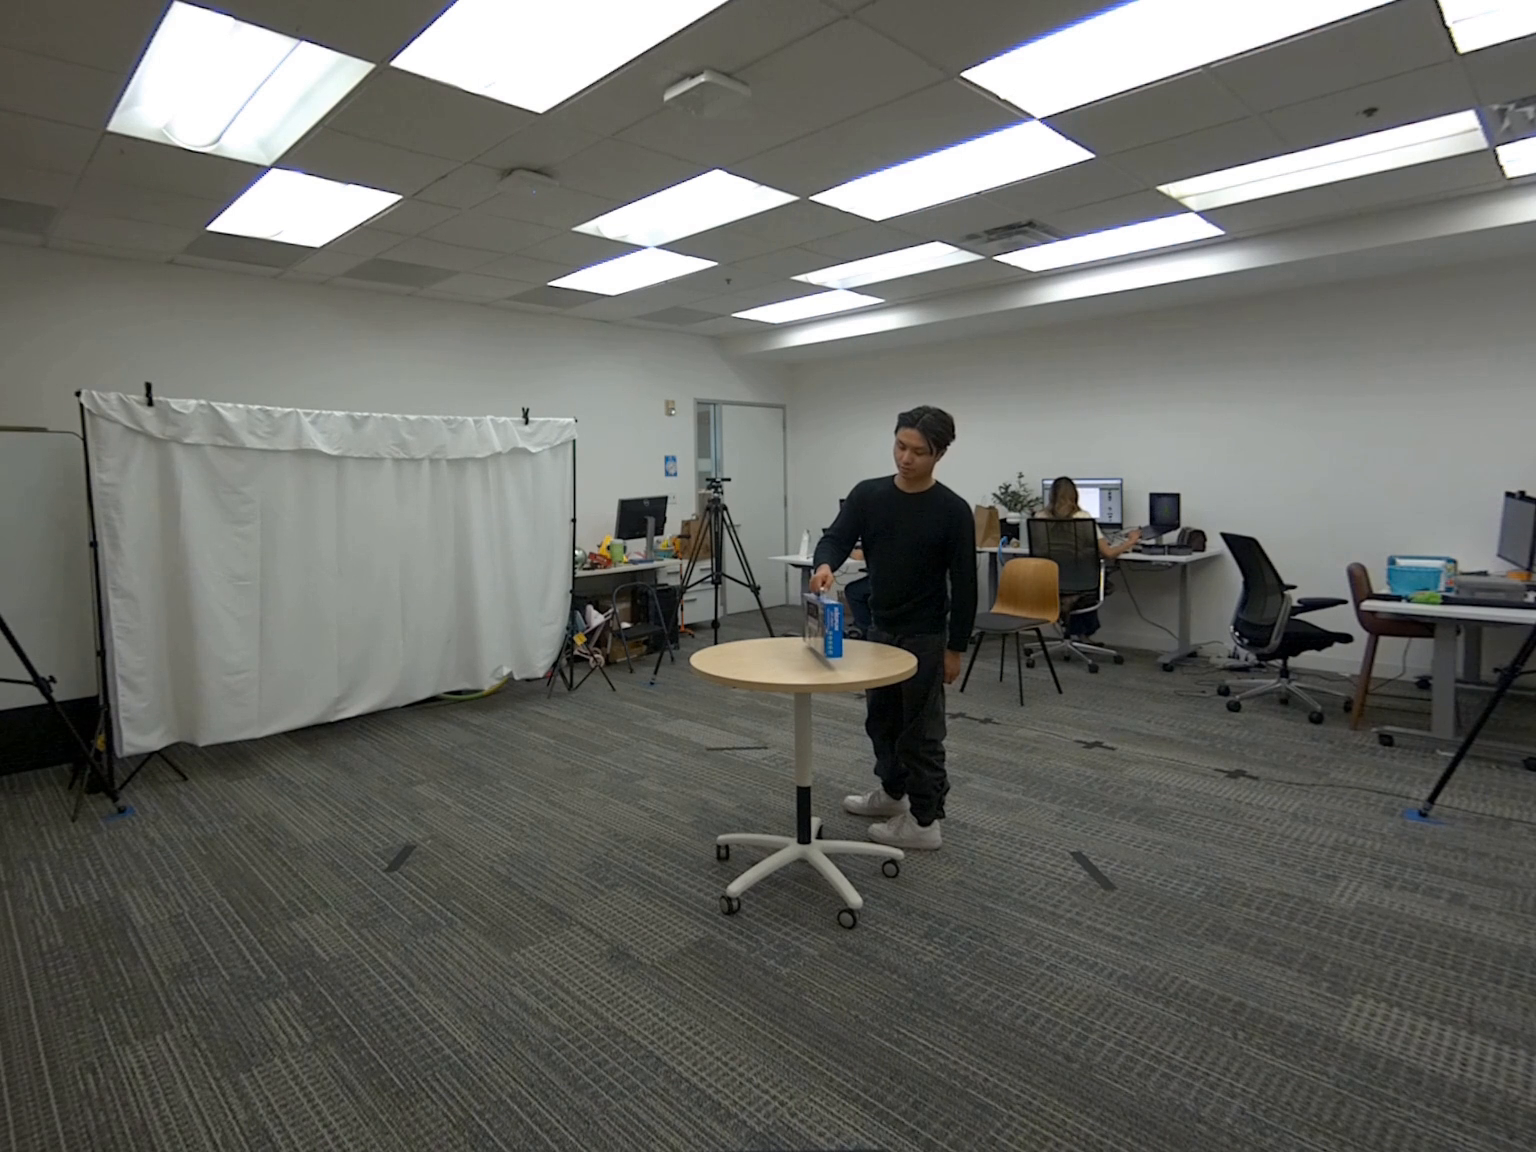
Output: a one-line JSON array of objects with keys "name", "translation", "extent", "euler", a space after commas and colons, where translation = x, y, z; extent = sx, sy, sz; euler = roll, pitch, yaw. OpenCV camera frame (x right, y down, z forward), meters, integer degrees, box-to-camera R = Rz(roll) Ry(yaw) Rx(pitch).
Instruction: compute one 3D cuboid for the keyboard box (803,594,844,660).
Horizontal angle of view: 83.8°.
[{"name": "keyboard box", "translation": [0.184, 0.164, 2.899], "extent": [0.059, 0.176, 0.439], "euler": [-1, 3, -5]}]
